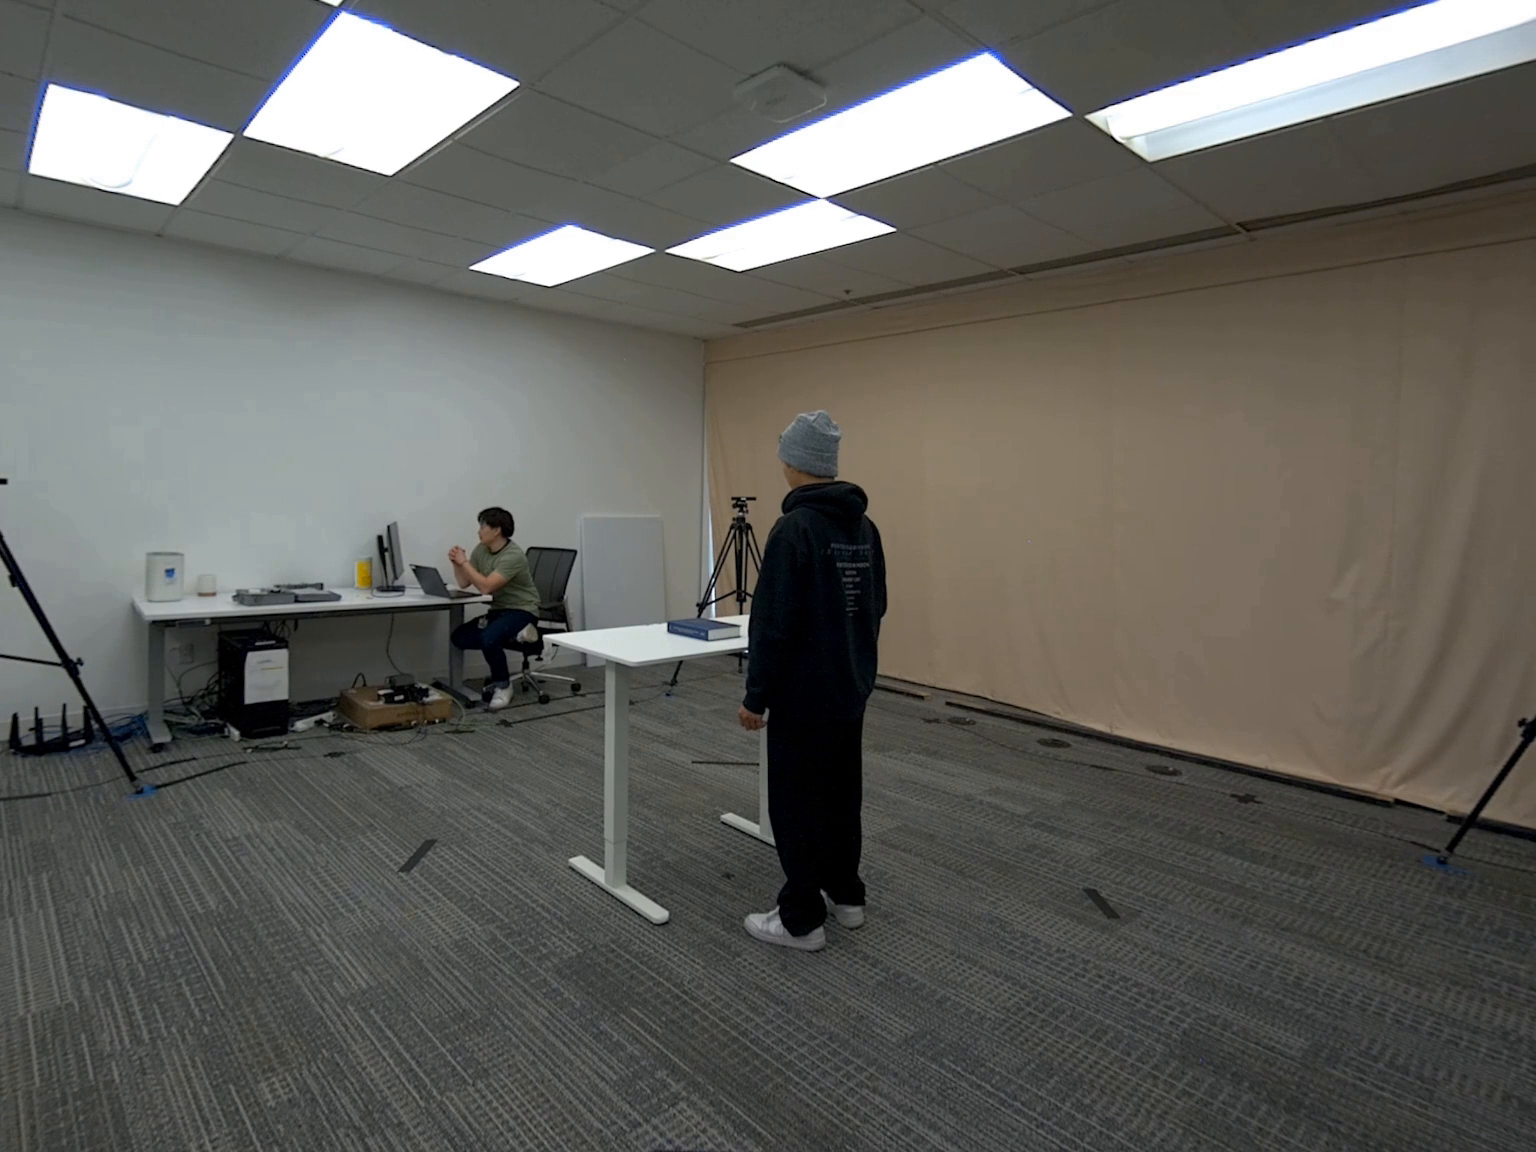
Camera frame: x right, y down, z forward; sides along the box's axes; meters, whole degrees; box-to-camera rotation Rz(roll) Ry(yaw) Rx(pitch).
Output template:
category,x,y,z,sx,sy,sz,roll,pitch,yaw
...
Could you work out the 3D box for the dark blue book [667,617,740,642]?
category,x,y,z,sx,sy,sz,roll,pitch,yaw
dark blue book,-0.254,0.200,3.138,0.160,0.045,0.251,-5,7,-42
